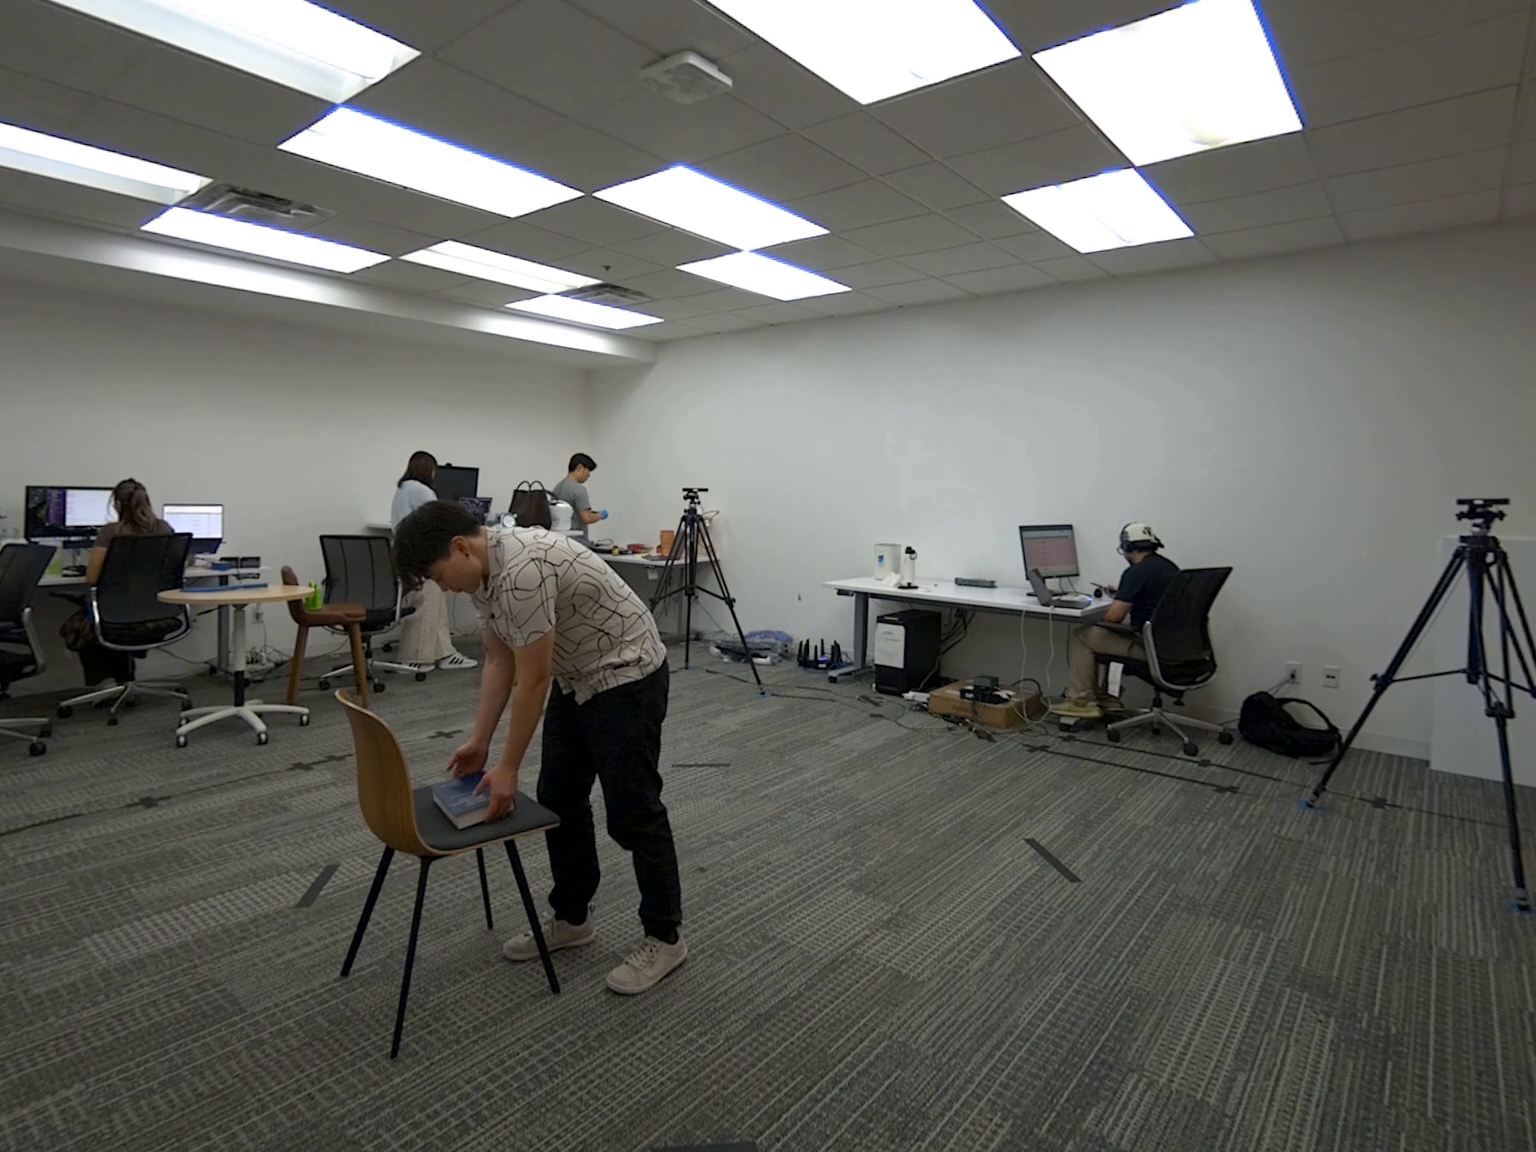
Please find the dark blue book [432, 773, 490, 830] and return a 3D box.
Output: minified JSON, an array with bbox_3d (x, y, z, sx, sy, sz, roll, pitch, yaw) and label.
[{"bbox_3d":[-0.851,0.621,2.386,0.159,0.045,0.253,-12,12,-34],"label":"dark blue book"}]
